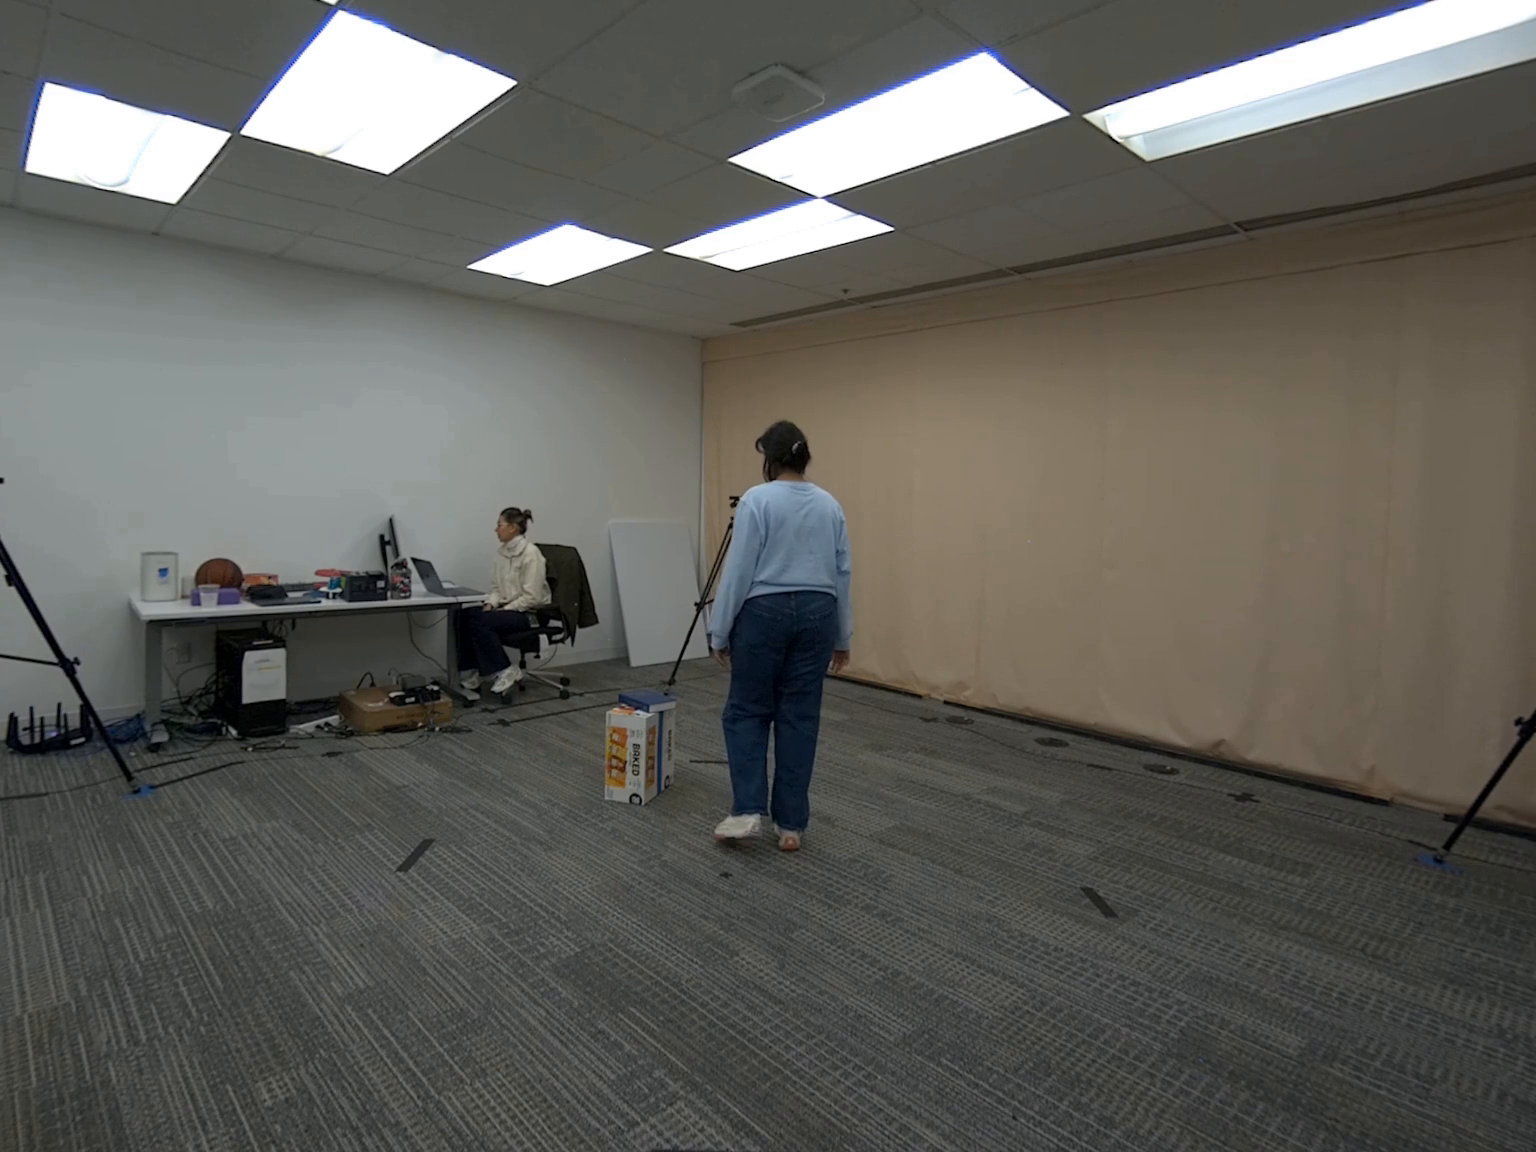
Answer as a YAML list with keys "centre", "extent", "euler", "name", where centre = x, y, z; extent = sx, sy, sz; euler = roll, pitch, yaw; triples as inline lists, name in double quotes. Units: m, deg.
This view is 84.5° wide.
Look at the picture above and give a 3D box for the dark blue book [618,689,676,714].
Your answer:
- centre: [-0.576, 0.586, 3.987]
  extent: [0.159, 0.045, 0.251]
  euler: [-2, 7, -45]
  name: "dark blue book"
